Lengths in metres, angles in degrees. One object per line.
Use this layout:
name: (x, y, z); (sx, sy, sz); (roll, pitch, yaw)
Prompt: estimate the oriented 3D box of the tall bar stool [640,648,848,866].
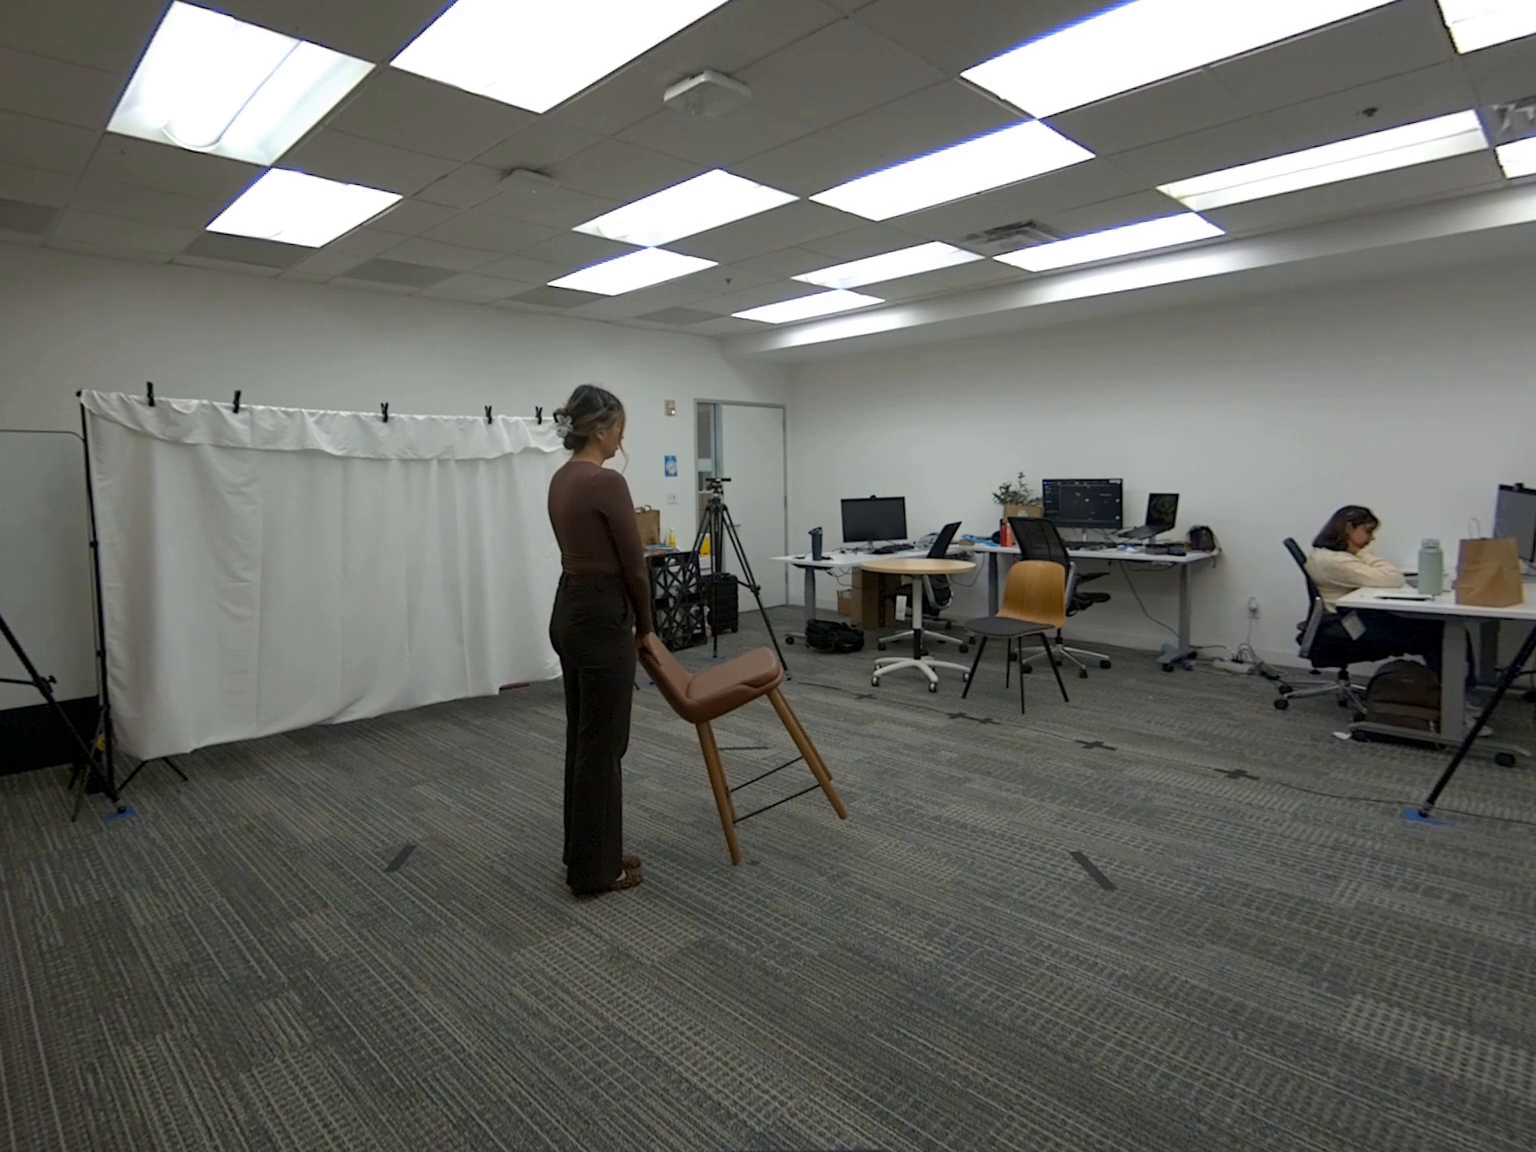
tall bar stool: (-0.116, 0.544, 3.246); (0.468, 0.885, 0.459); (-26, 4, 0)
